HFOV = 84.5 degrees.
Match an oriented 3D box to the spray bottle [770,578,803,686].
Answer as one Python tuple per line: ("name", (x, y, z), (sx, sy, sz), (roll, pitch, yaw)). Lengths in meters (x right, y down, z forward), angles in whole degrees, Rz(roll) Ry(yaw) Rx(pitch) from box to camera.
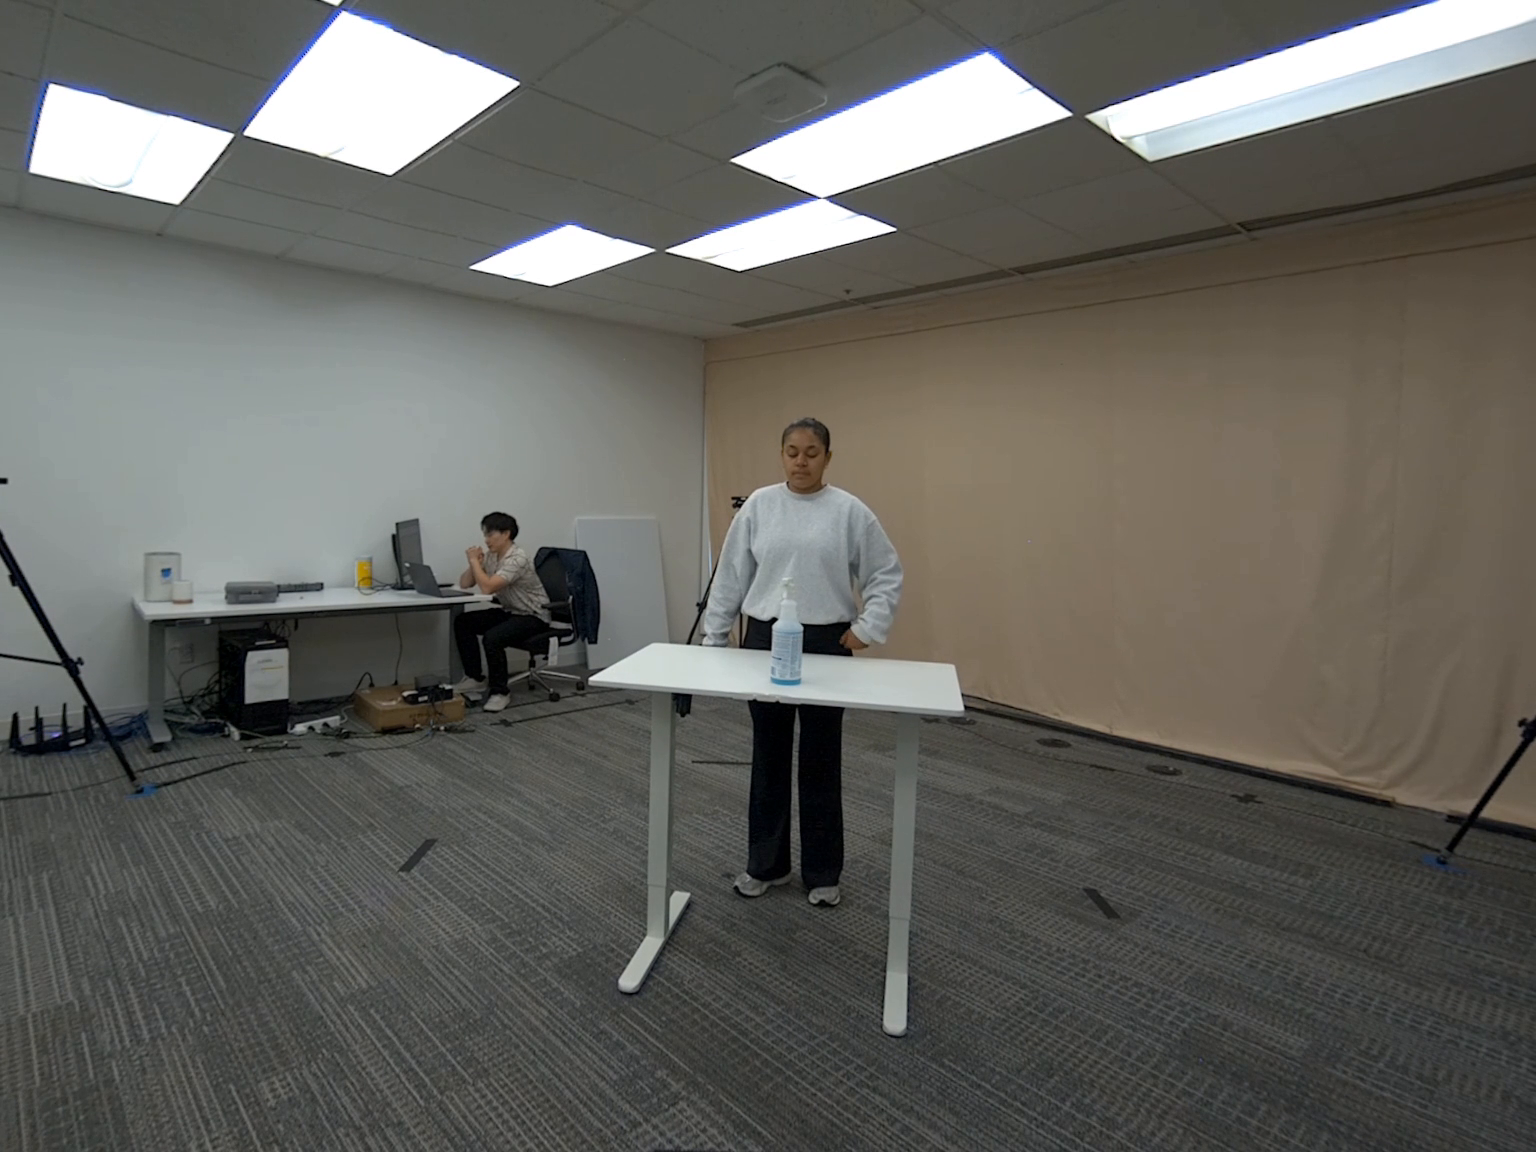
("spray bottle", (0.040, 0.156, 2.346), (0.089, 0.296, 0.088), (5, 7, 41))
